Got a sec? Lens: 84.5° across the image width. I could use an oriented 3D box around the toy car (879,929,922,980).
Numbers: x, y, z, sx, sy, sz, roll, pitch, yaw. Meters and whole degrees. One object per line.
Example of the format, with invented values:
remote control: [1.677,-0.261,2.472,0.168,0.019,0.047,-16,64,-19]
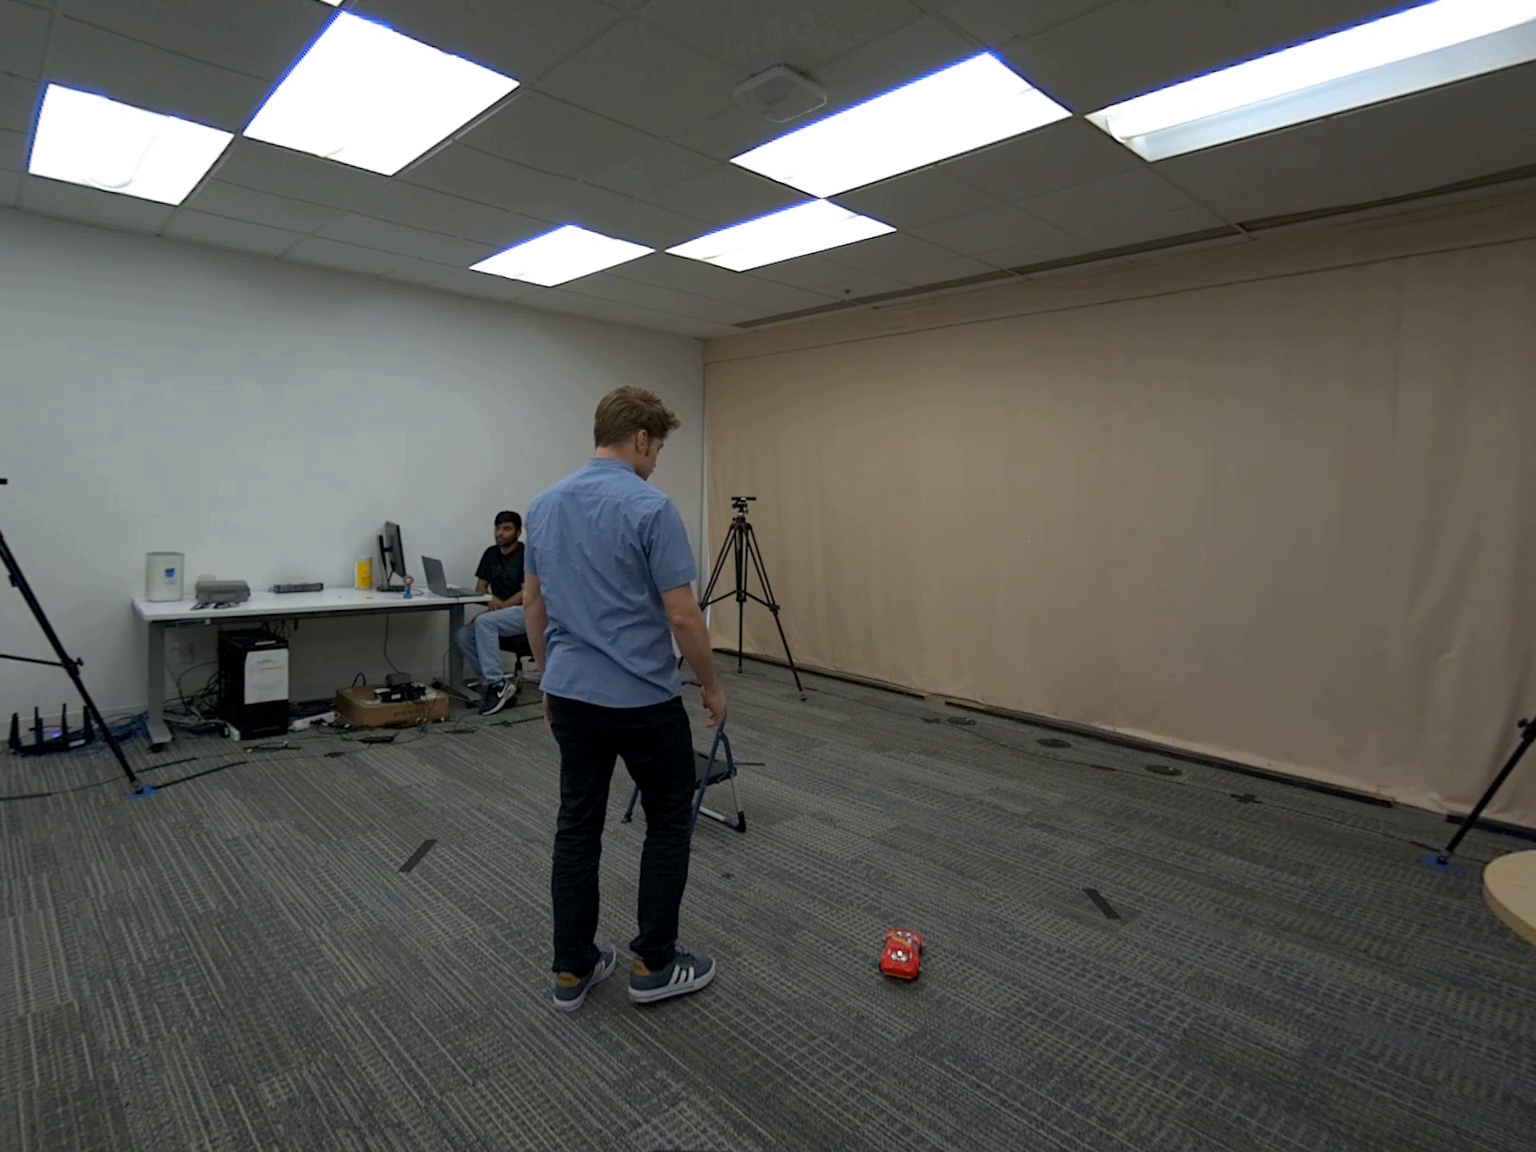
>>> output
toy car: [0.398,1.141,2.526,0.132,0.083,0.250,3,-6,14]
